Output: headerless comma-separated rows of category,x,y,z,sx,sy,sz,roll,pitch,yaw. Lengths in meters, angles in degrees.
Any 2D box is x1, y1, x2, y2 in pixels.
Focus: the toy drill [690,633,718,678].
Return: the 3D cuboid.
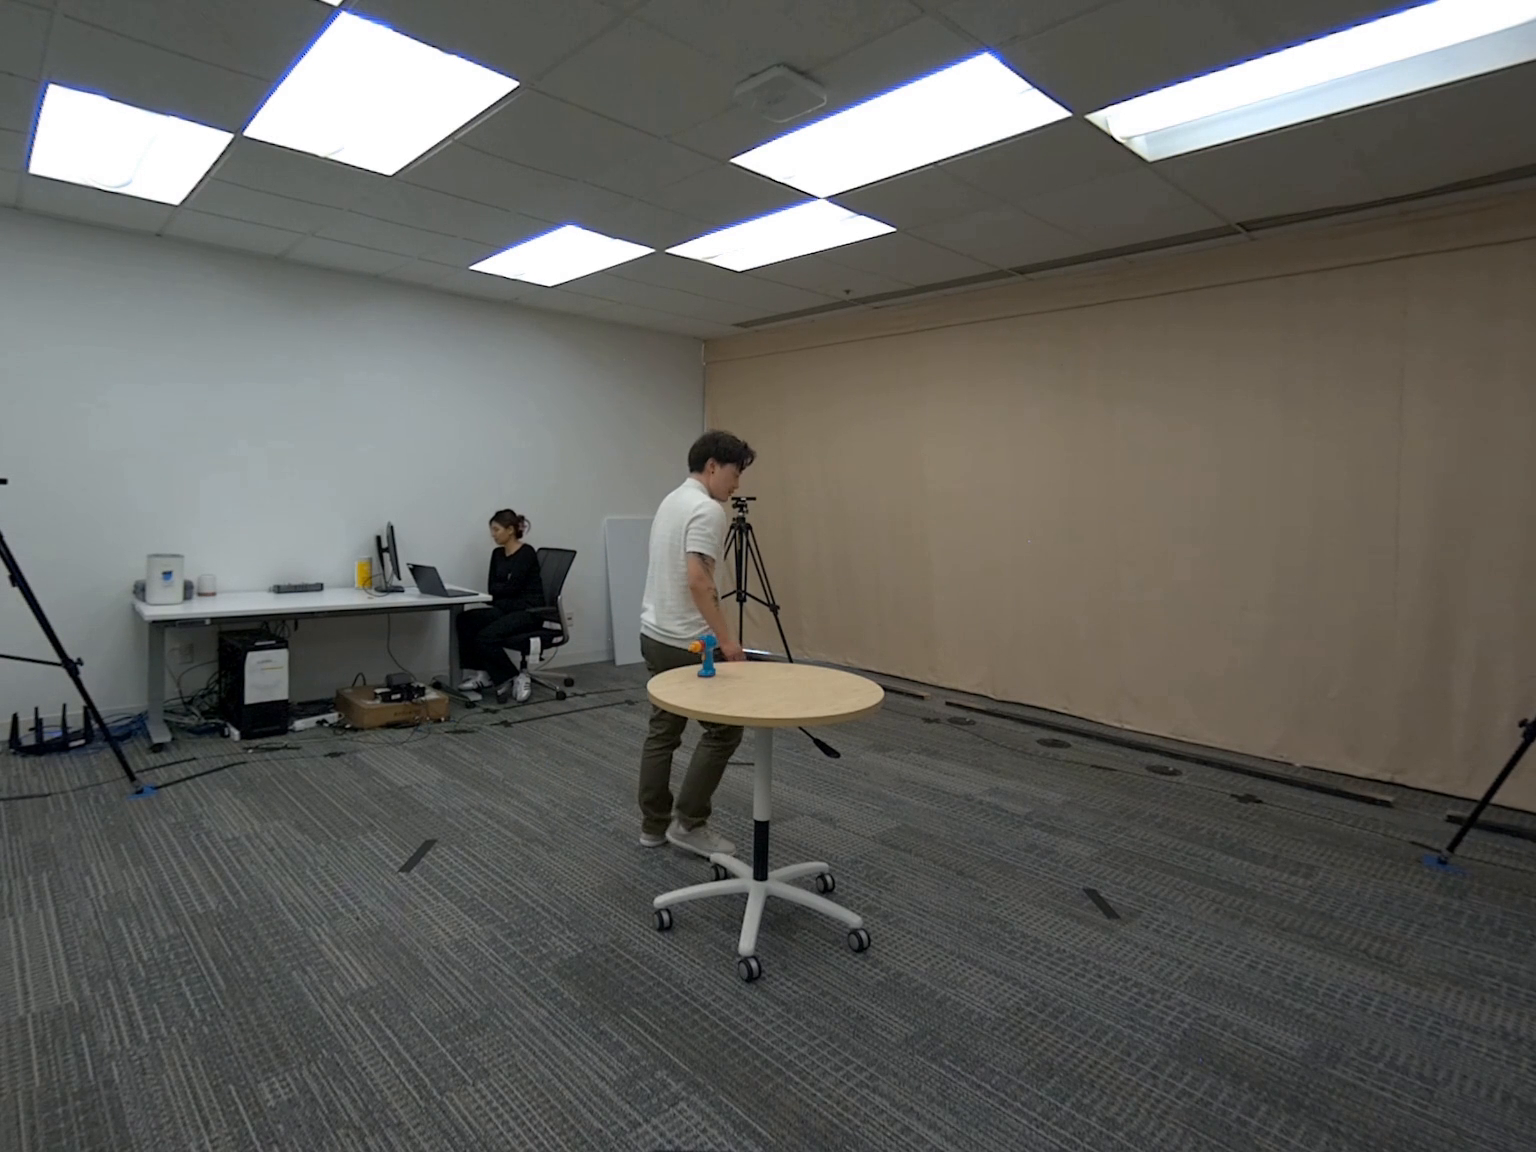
toy drill,-0.226,0.272,2.829,0.062,0.145,0.168,2,4,14
